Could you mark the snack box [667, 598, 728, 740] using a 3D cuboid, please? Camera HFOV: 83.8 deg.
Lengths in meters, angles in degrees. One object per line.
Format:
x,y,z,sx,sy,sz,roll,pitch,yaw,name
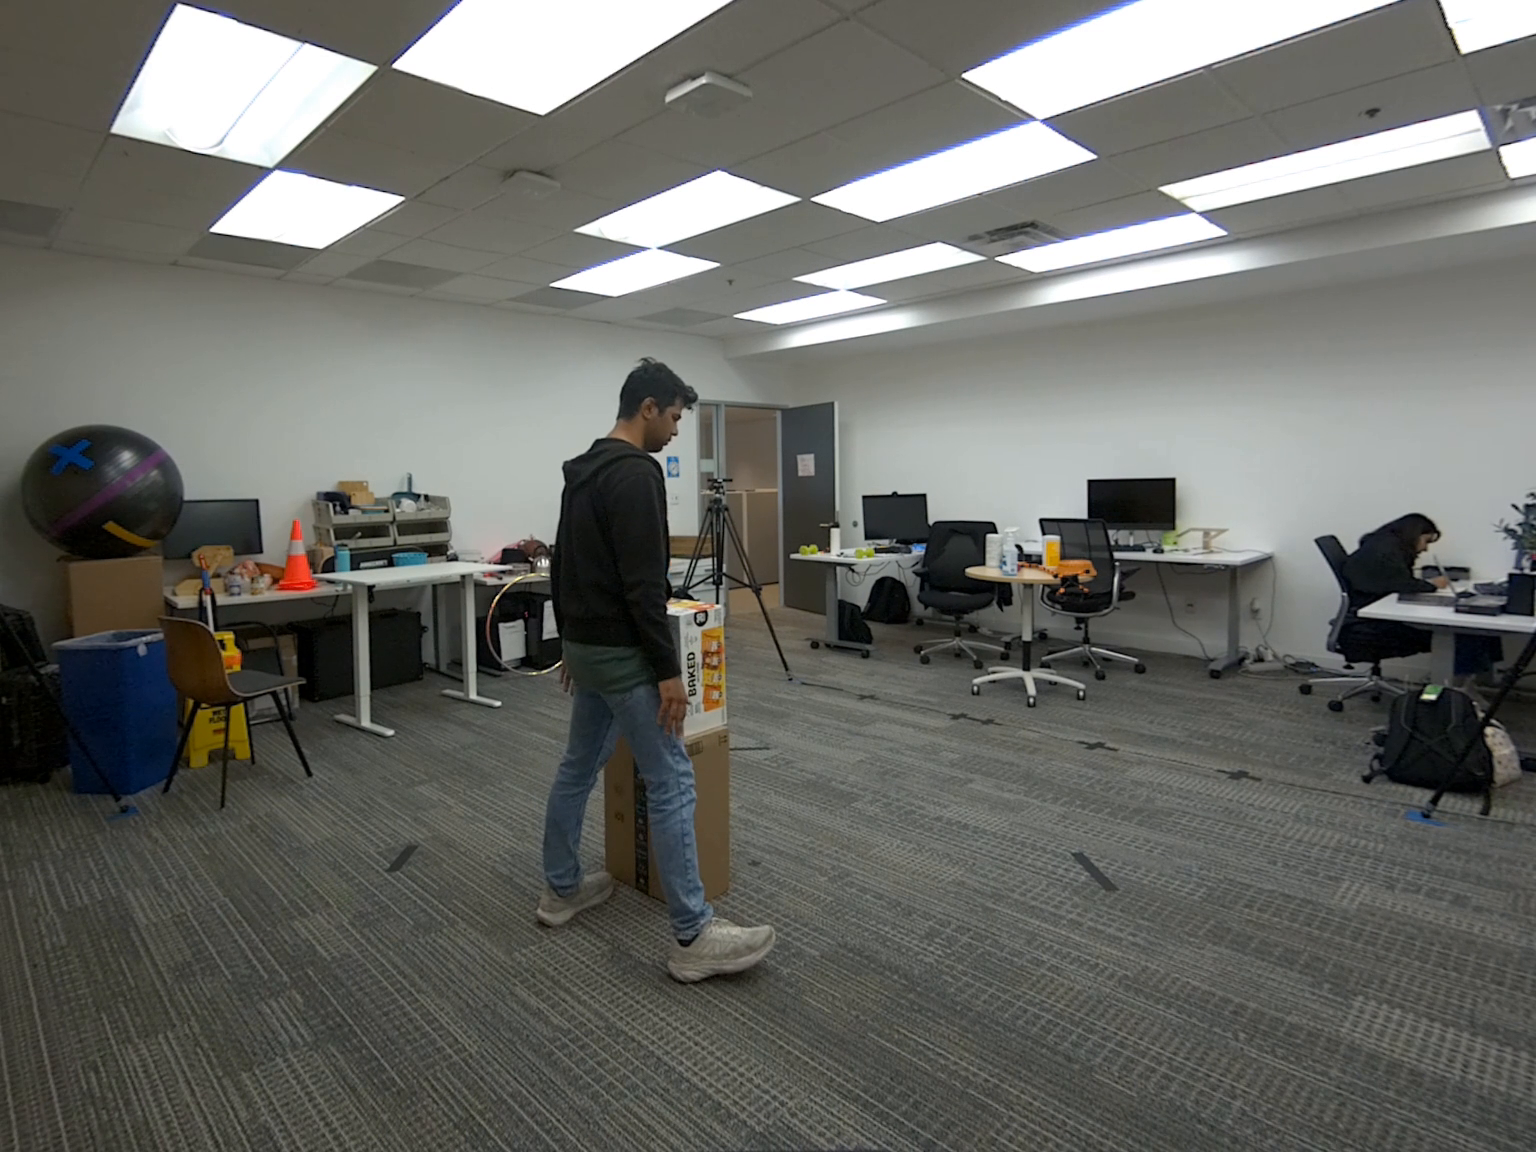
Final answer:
-0.331,0.297,2.941,0.351,0.403,0.200,4,8,44,snack box
